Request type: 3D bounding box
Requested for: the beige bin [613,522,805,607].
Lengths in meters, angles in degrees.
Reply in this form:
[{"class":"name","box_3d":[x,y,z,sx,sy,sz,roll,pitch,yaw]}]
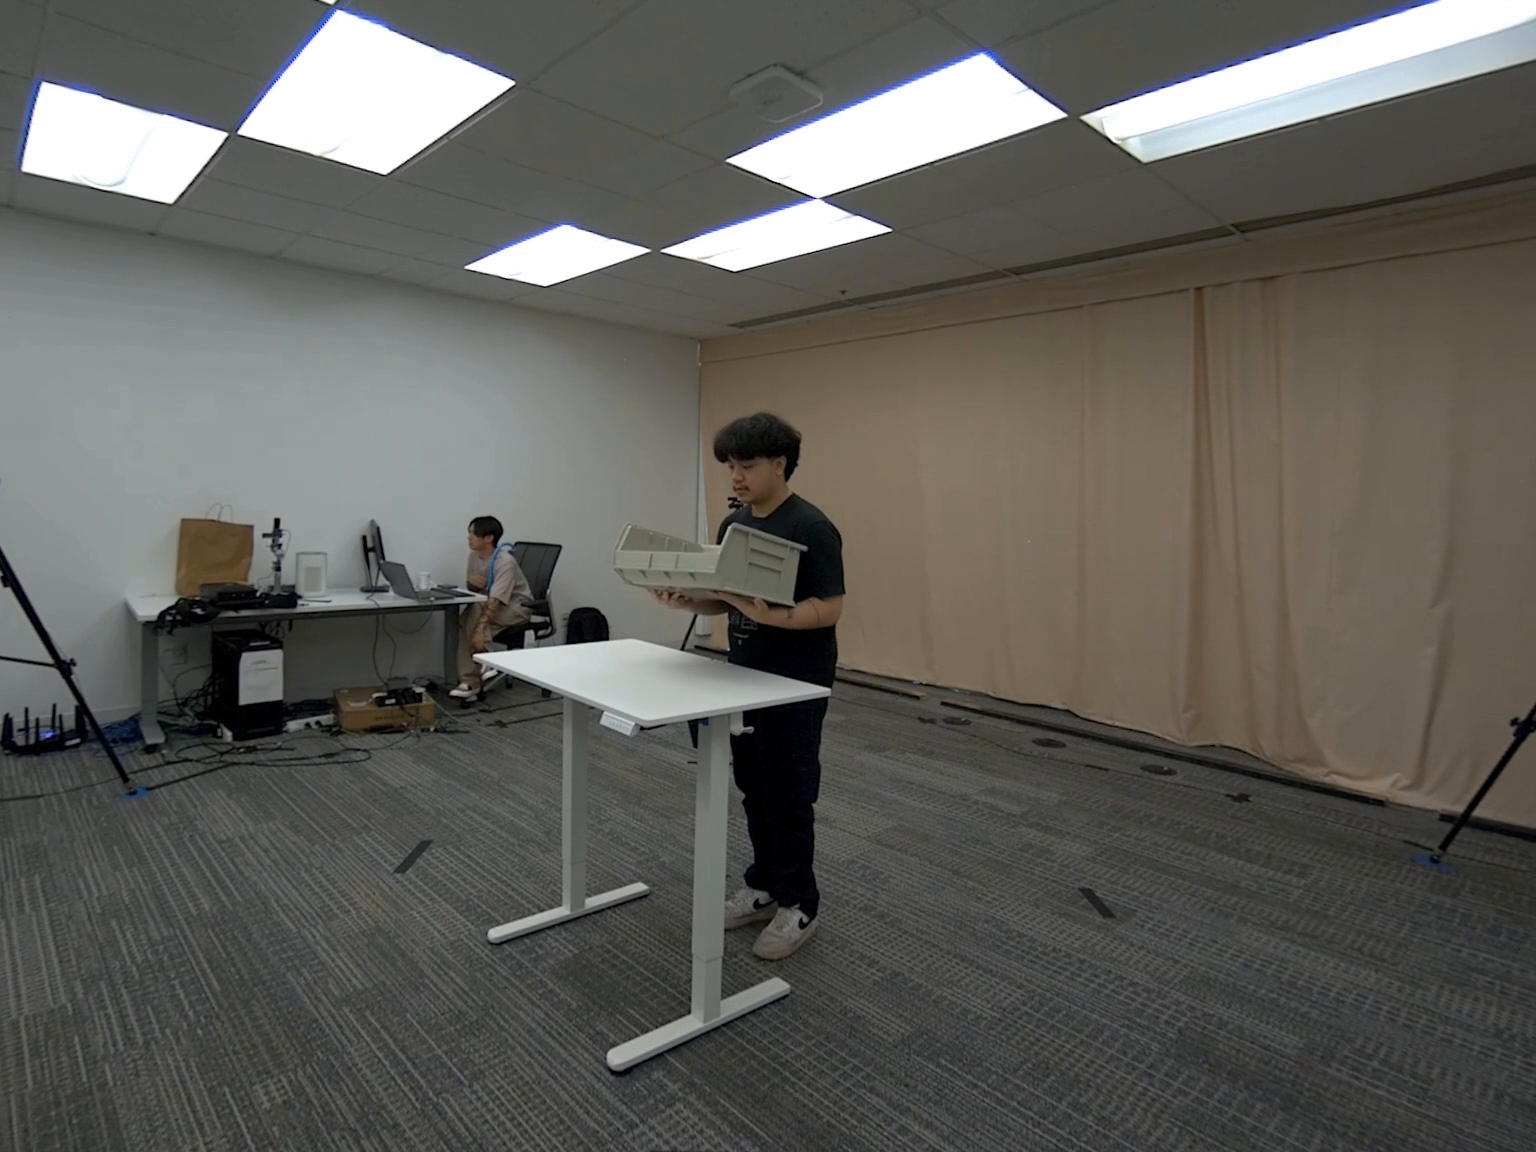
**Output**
[{"class":"beige bin","box_3d":[-0.183,-0.033,2.452,0.432,0.190,0.366,2,-9,39]}]
